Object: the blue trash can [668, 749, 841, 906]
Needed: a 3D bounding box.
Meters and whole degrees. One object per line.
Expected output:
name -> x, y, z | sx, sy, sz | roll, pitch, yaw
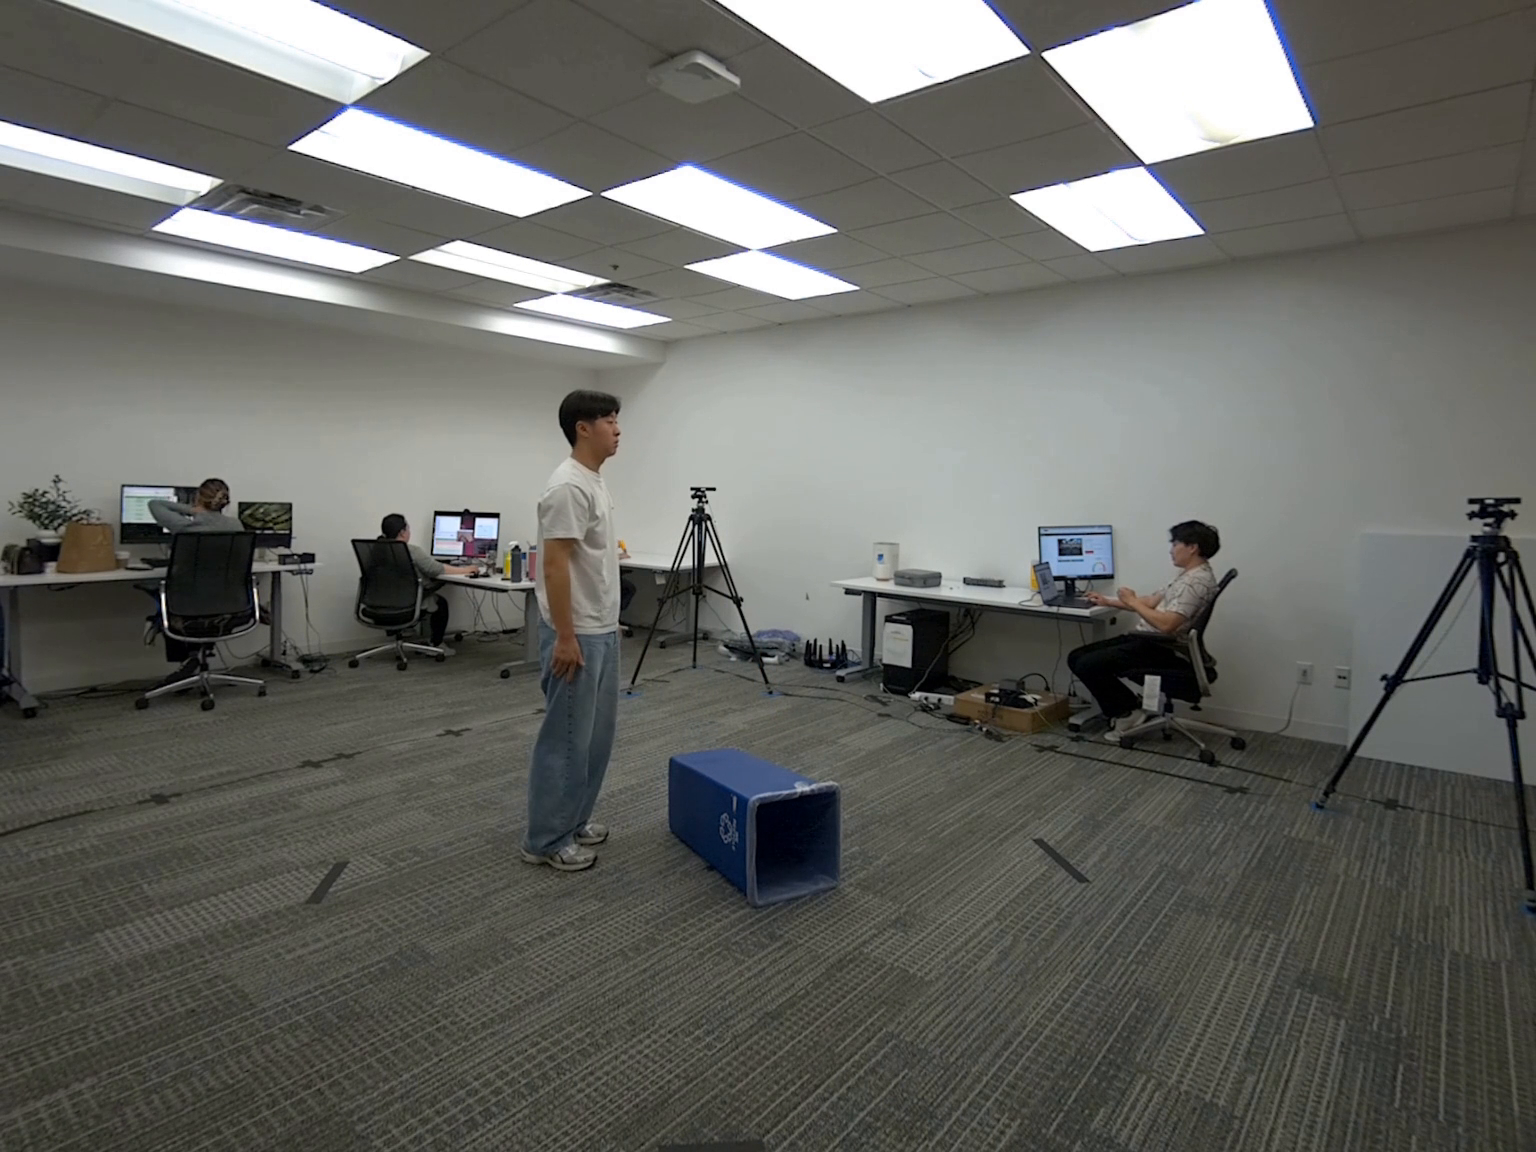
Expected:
blue trash can -> -0.093, 0.895, 3.197 | 0.368, 0.374, 0.734 | -2, 3, -31
